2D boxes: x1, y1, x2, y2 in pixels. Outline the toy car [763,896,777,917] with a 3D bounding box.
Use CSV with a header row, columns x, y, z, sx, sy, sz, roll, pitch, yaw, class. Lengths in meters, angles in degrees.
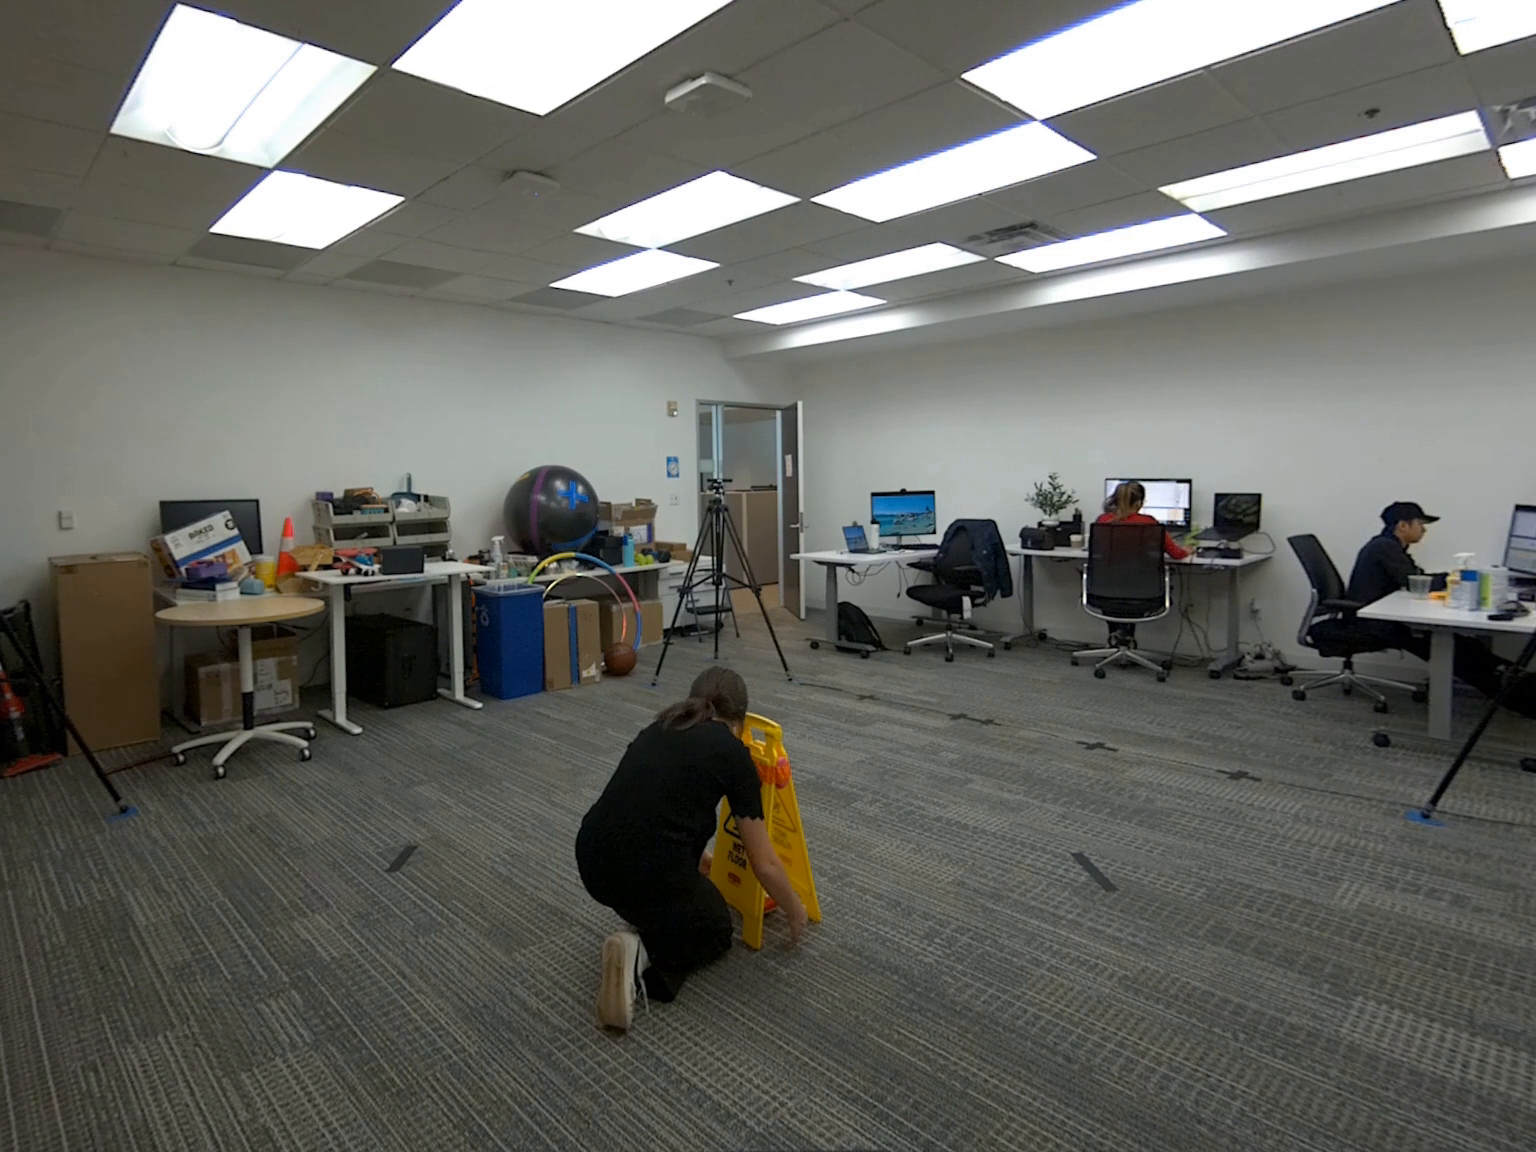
x,y,z,sx,sy,sz,roll,pitch,yaw,class
-0.060,1.046,2.792,0.127,0.083,0.261,-1,-2,-35,toy car
